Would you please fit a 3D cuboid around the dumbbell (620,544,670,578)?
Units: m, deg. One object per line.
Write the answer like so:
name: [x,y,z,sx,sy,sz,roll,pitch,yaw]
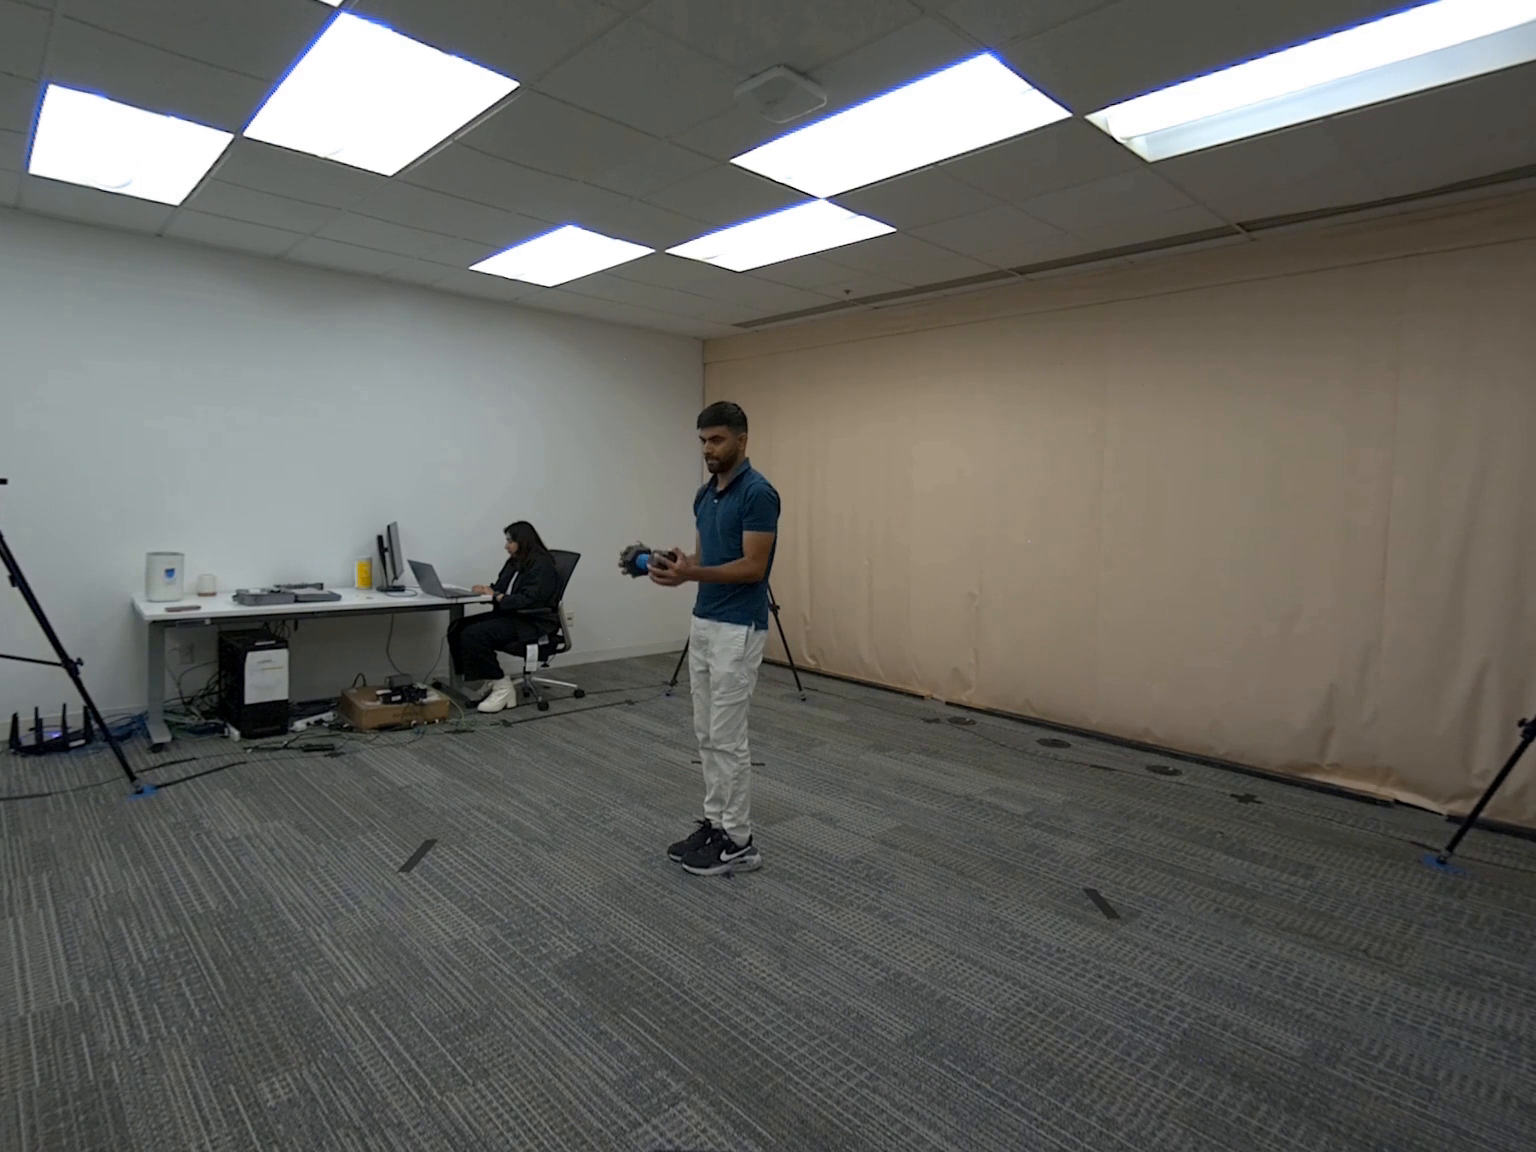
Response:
dumbbell: [-0.424,-0.043,3.074,0.108,0.121,0.301,-35,22,-25]
